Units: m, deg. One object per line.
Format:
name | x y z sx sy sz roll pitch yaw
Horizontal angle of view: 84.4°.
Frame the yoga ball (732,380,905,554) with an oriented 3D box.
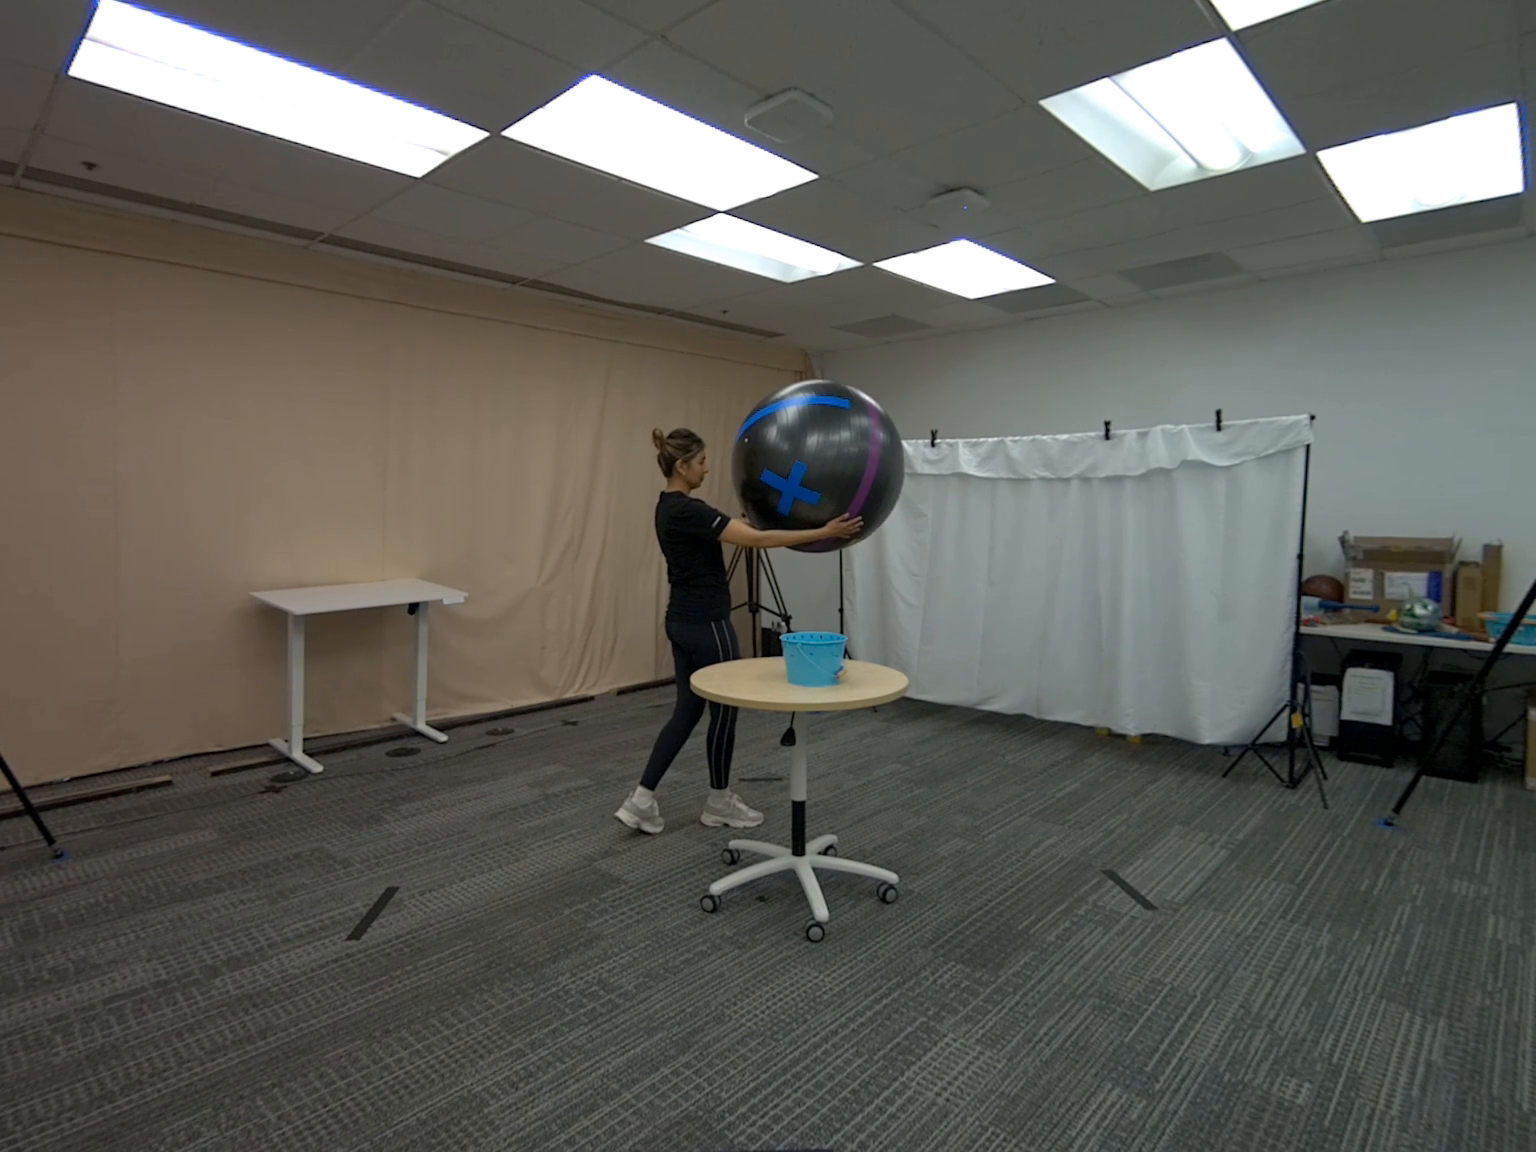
yoga ball | 0.220 -0.468 3.707 0.757 0.756 0.761 0 4 -2
